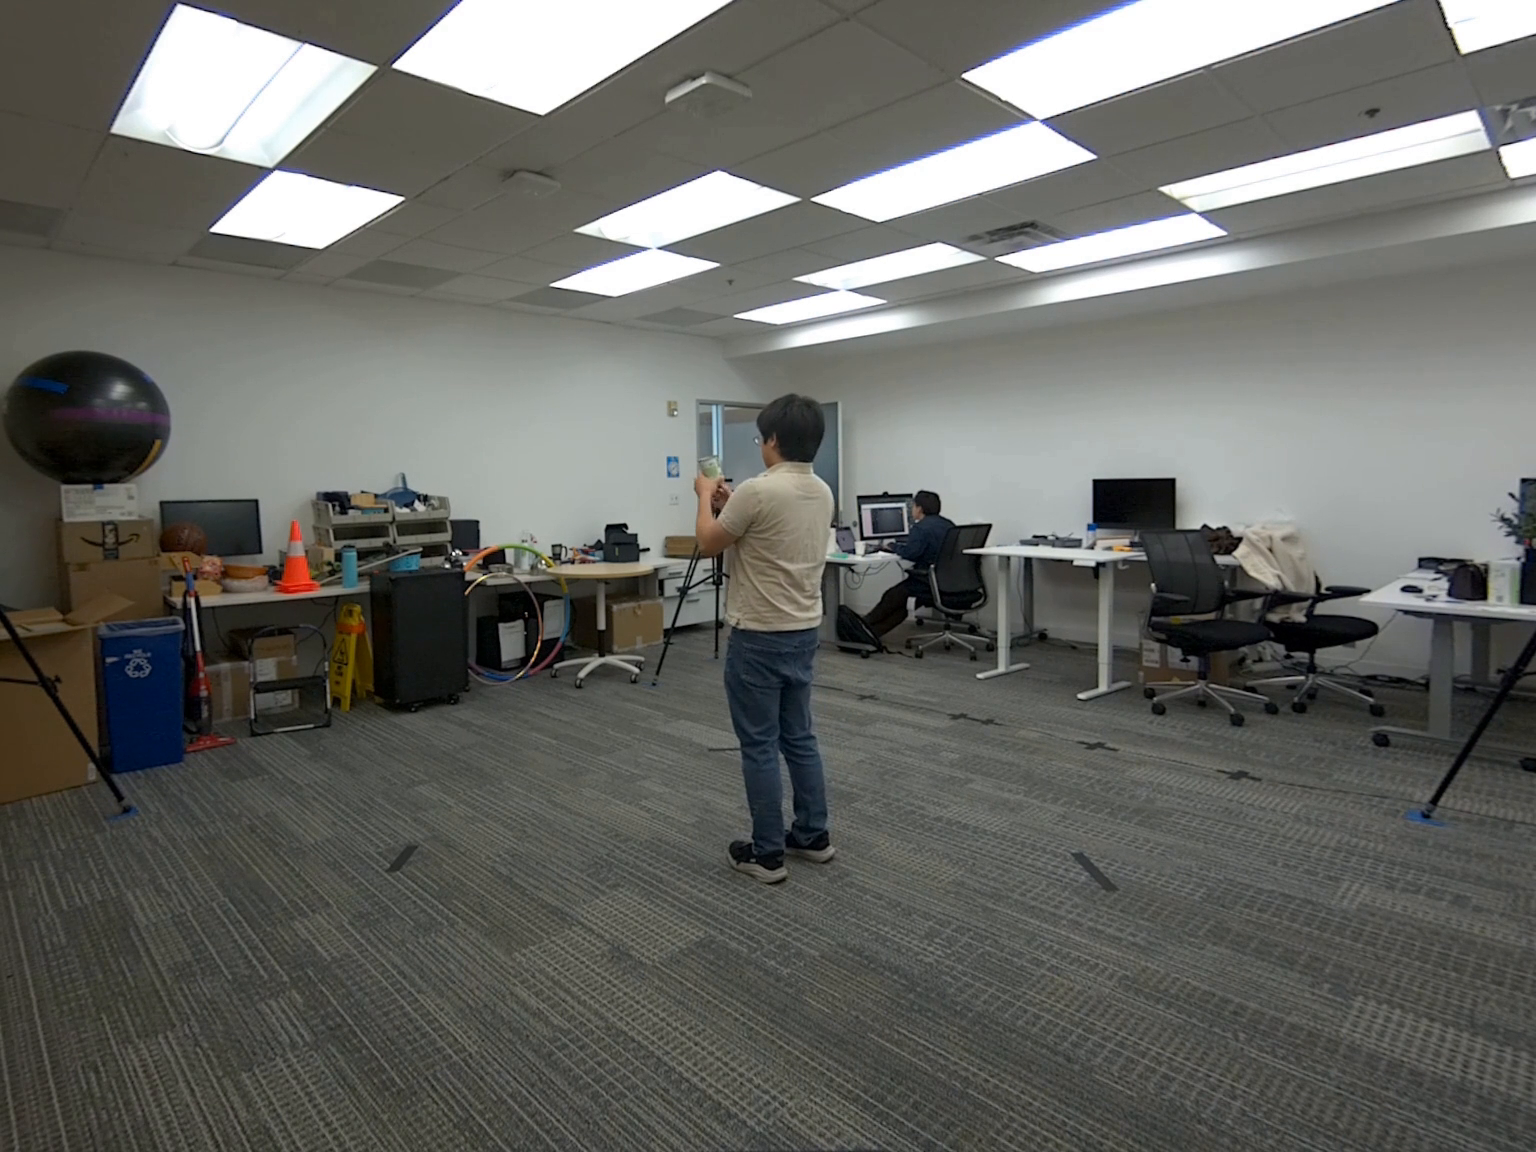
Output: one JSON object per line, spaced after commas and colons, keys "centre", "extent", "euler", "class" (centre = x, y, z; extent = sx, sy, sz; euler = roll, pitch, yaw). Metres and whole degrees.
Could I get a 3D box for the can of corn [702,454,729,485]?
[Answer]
{"centre": [-0.200, -0.399, 3.246], "extent": [0.074, 0.110, 0.075], "euler": [-14, 8, 0], "class": "can of corn"}
